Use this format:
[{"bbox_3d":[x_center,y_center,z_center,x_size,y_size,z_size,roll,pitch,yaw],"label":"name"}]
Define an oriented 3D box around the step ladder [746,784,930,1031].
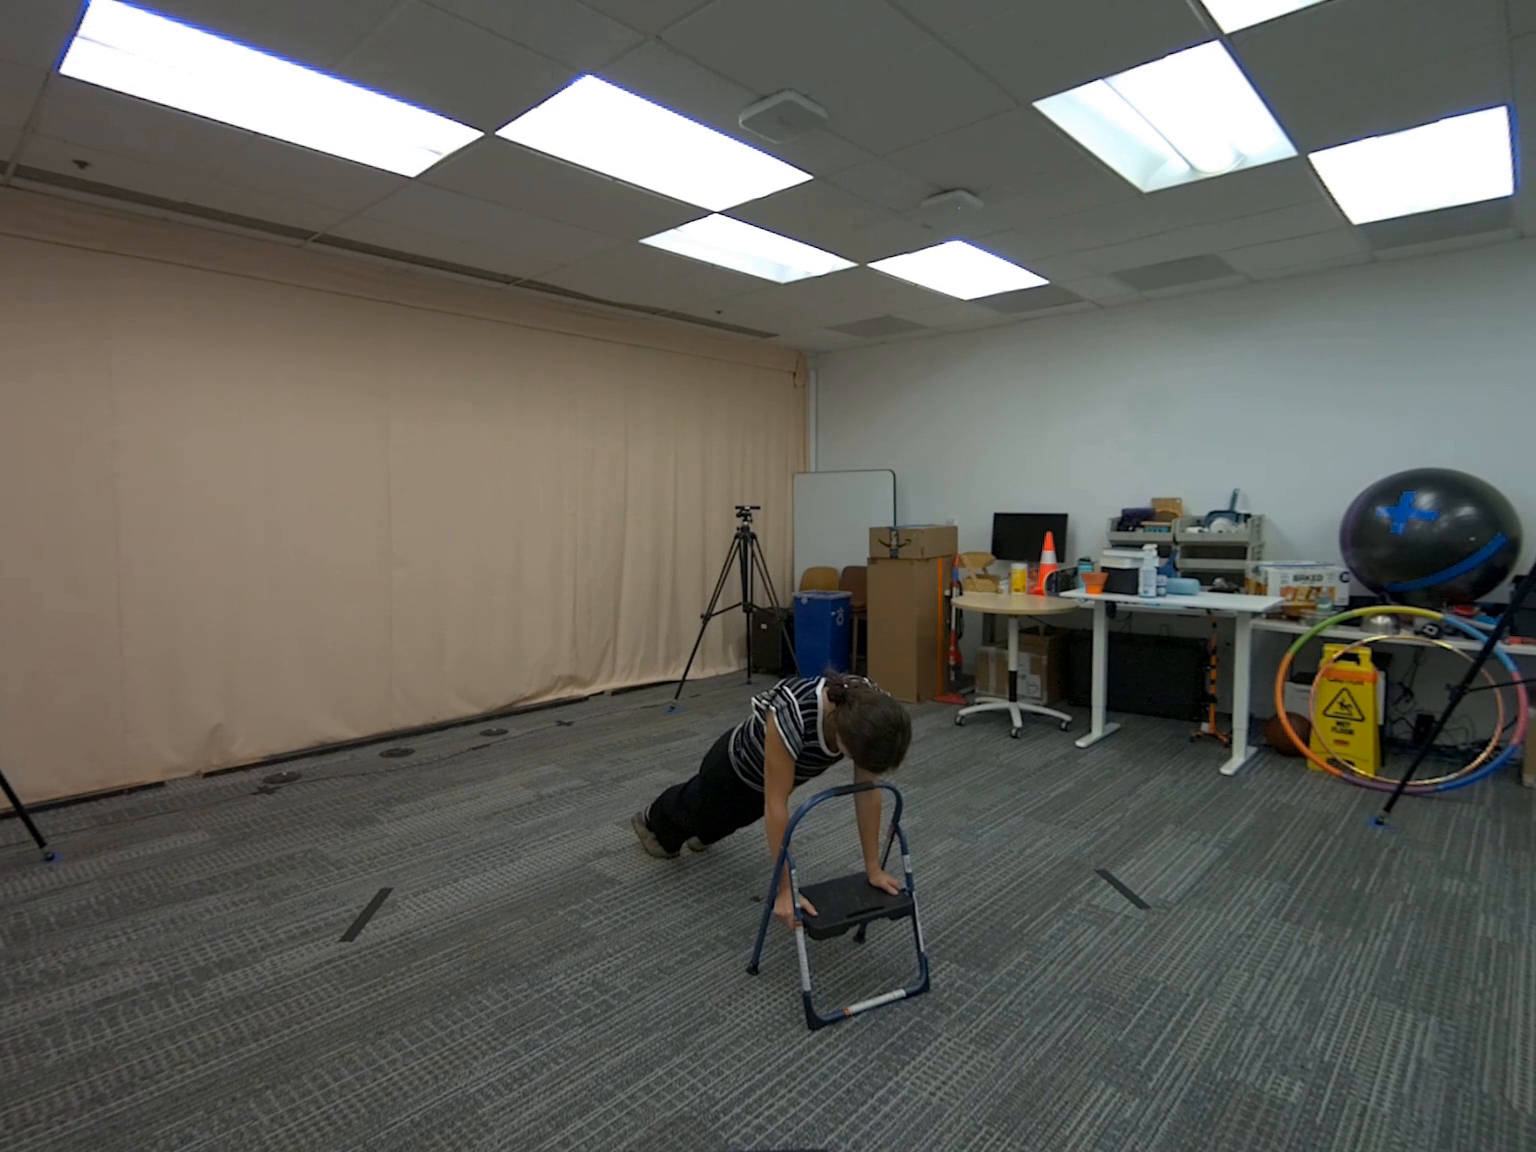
[{"bbox_3d":[0.211,0.889,2.454,0.419,0.604,0.359,-2,5,-30],"label":"step ladder"}]
